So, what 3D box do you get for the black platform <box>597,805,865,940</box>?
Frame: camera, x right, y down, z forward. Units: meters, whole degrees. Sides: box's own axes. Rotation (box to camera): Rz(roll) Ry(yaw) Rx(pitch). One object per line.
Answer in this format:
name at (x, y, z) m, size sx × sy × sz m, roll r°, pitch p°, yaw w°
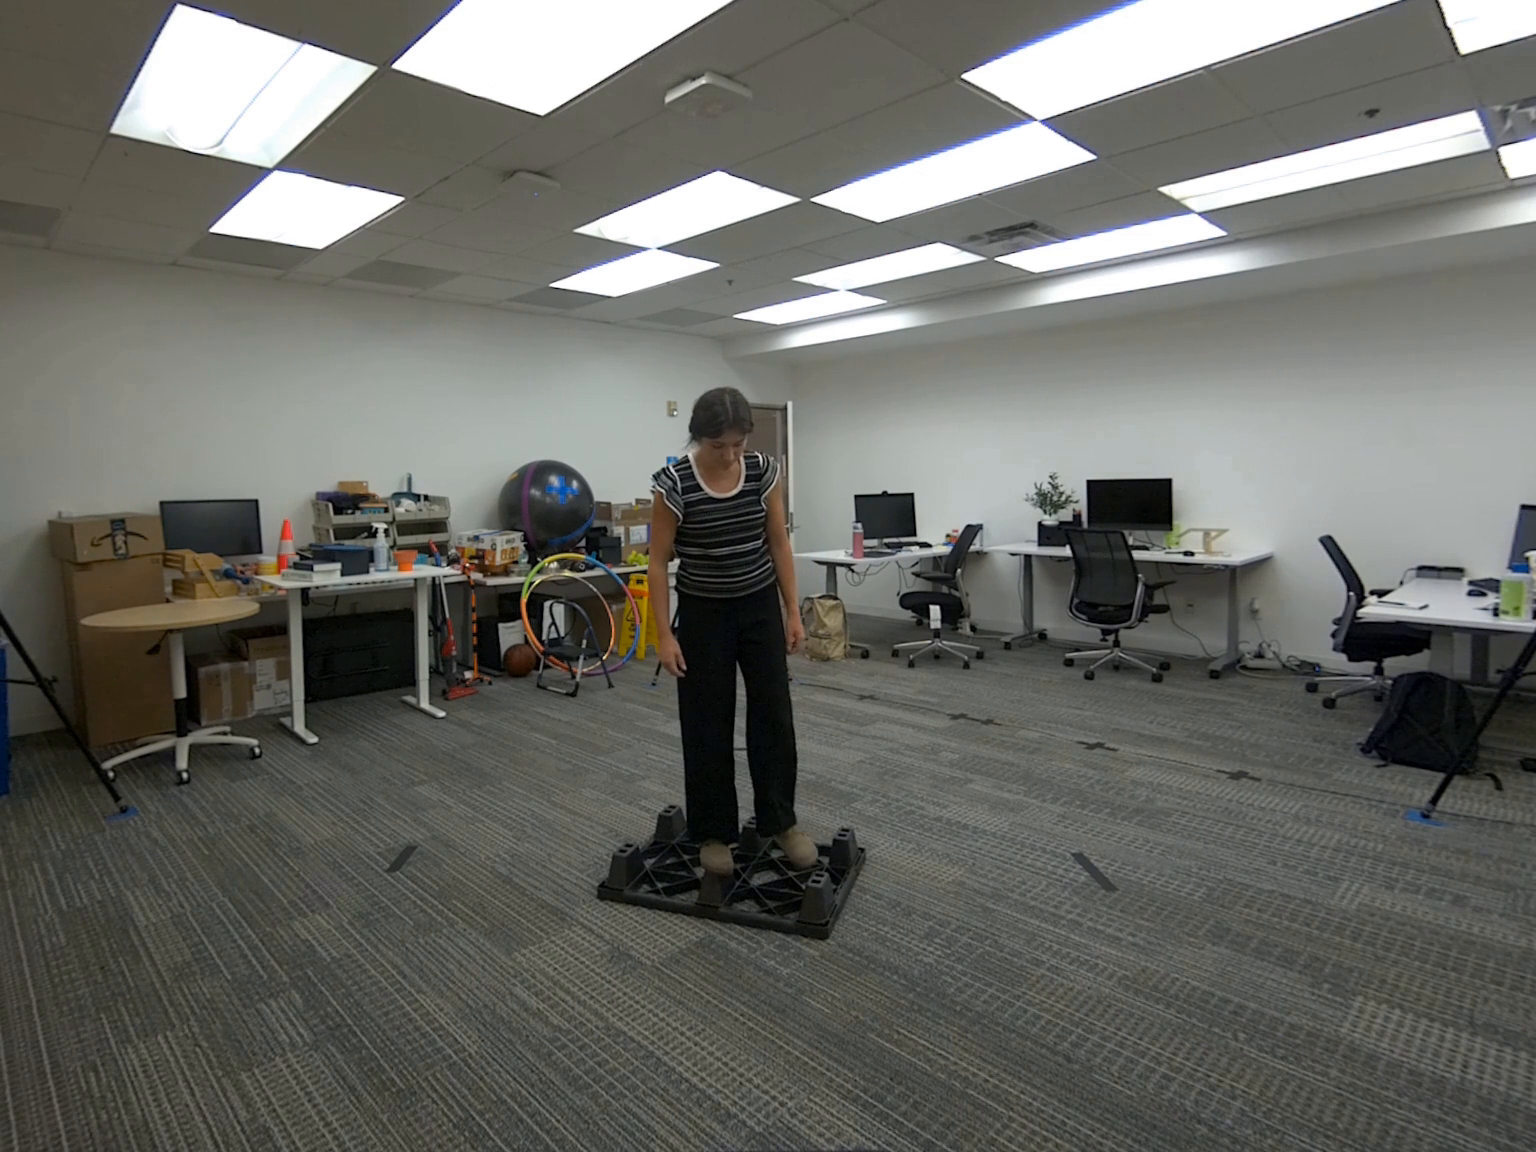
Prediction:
black platform at (-0.103, 0.993, 2.995) m, size 0.821 × 0.142 × 0.597 m, roll 1°, pitch 8°, yaw 19°
